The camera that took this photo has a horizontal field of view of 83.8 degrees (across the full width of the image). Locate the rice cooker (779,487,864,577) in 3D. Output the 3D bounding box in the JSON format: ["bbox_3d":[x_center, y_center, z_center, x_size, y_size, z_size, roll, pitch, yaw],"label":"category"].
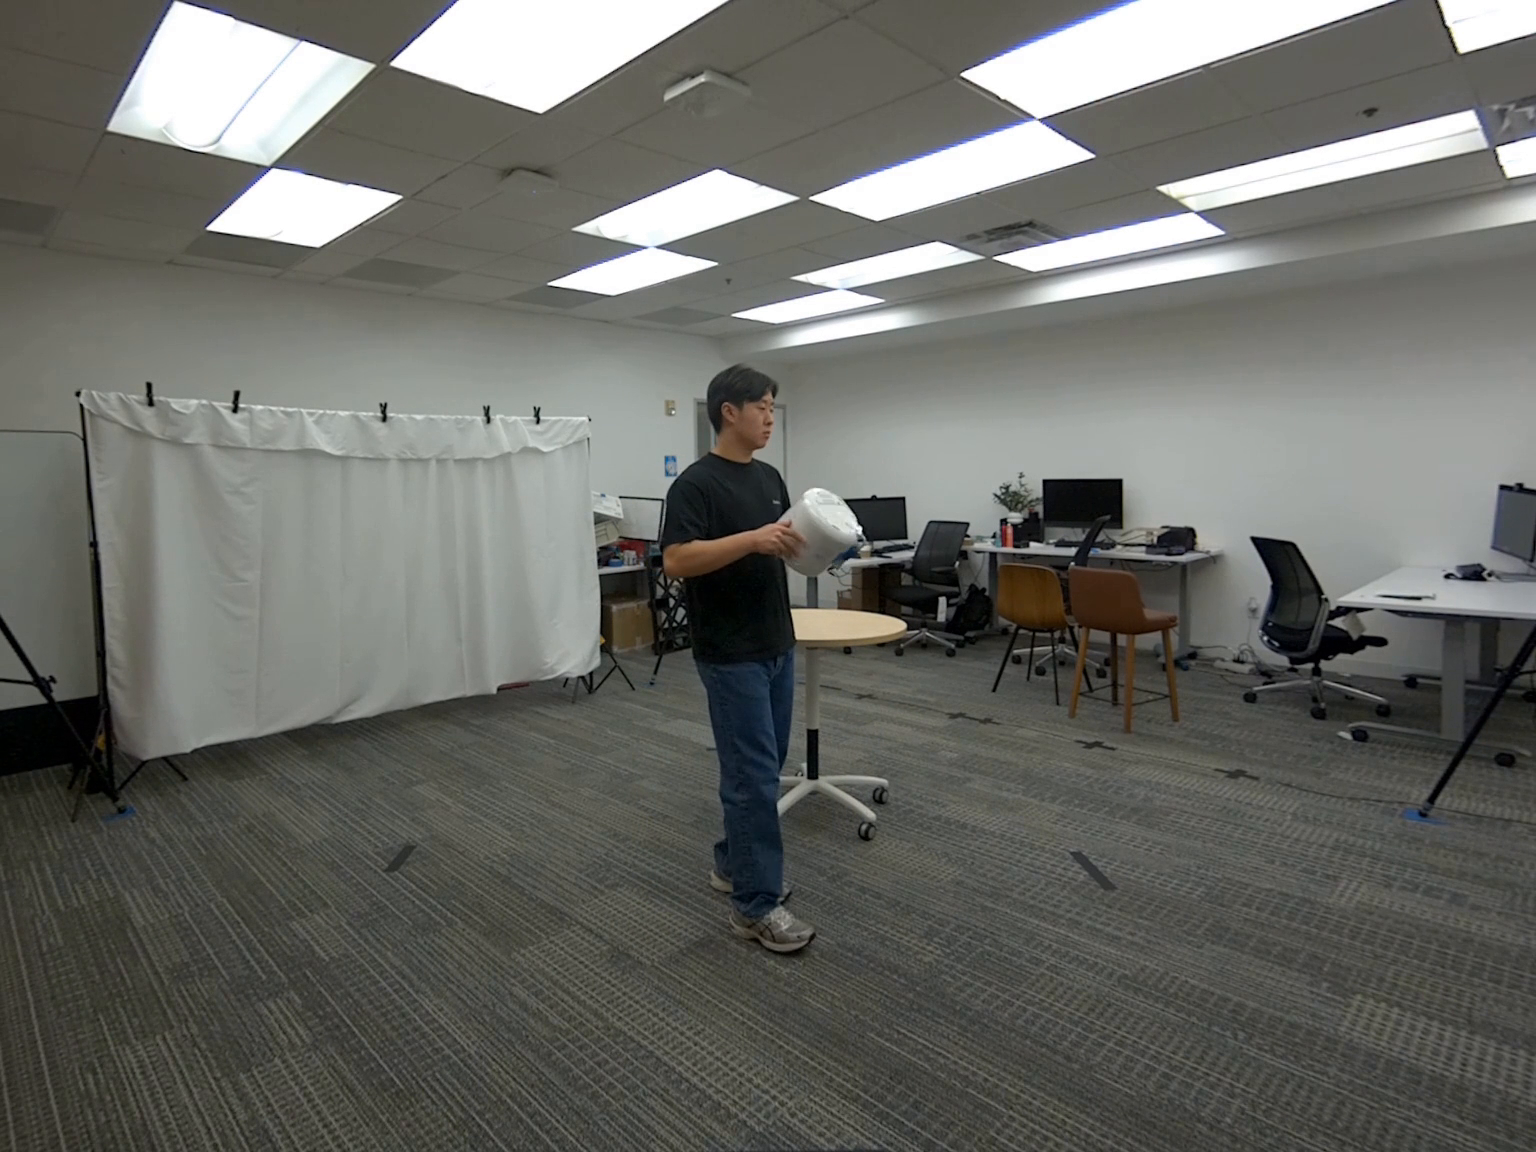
[{"bbox_3d":[0.134,-0.125,2.580,0.214,0.224,0.233,1,-38,-46],"label":"rice cooker"}]
